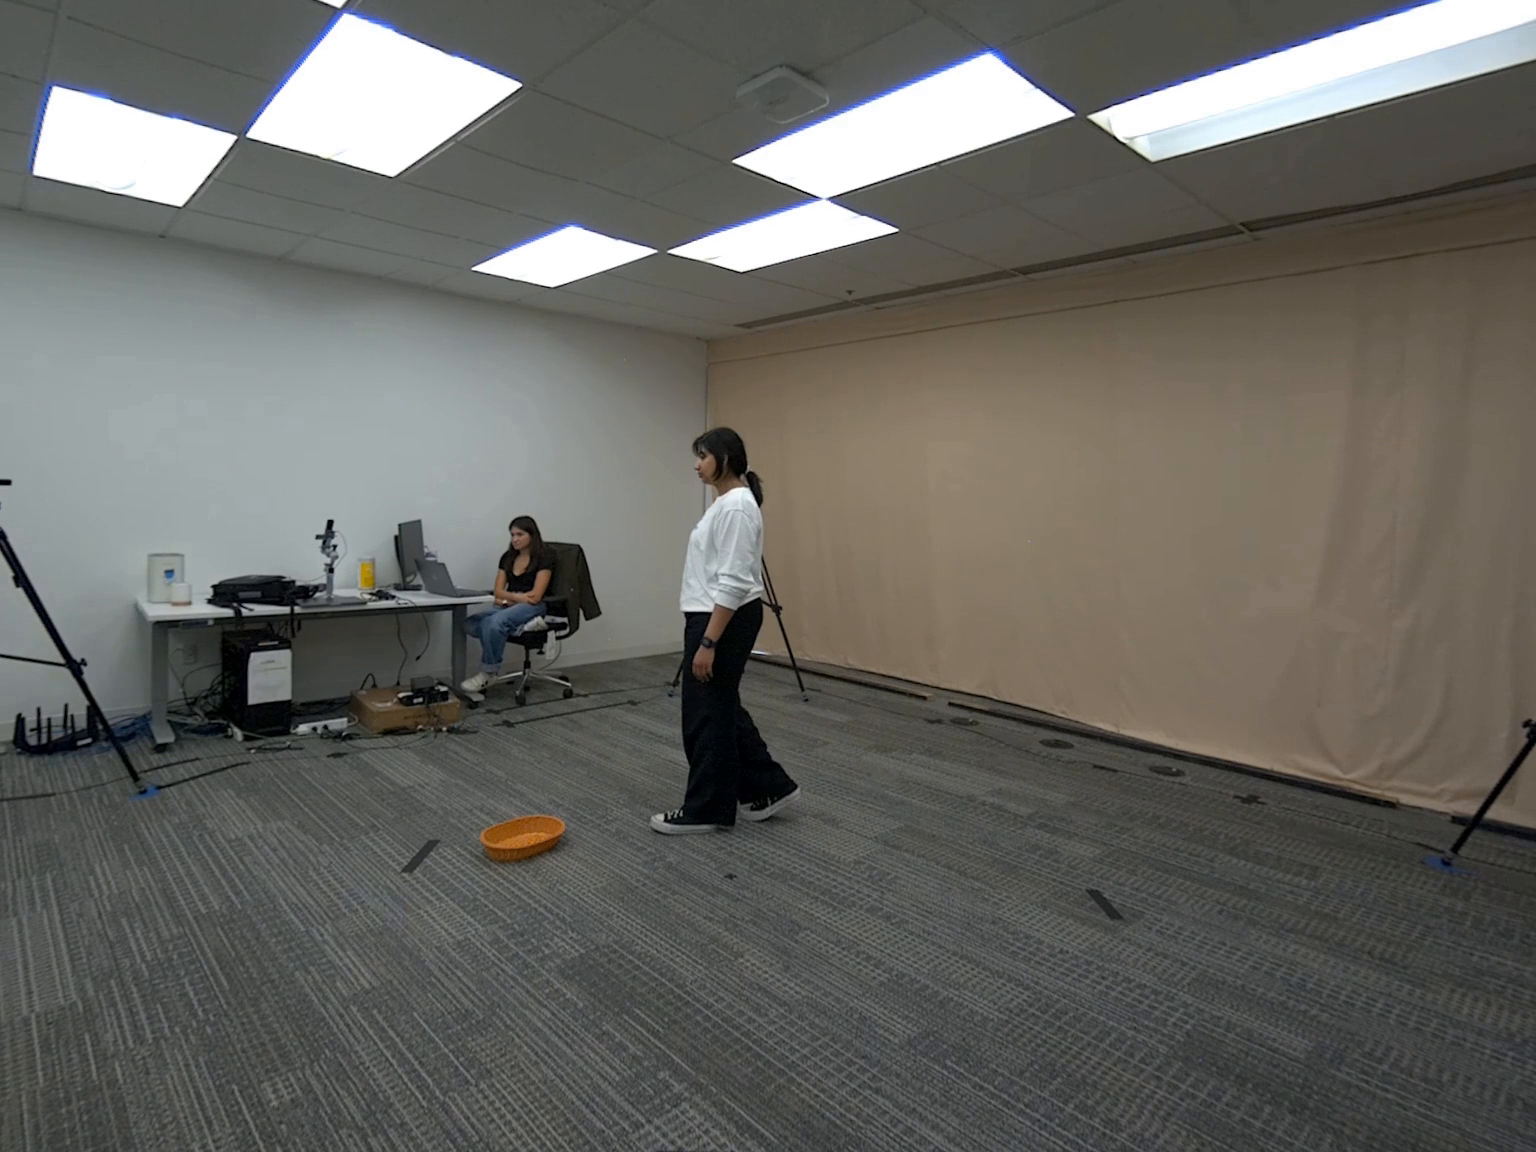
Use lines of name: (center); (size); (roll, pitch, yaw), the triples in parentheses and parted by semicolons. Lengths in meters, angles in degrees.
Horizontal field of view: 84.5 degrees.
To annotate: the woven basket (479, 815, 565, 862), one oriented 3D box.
woven basket: (-0.966, 1.031, 3.307); (0.259, 0.073, 0.342); (7, 7, 41)
